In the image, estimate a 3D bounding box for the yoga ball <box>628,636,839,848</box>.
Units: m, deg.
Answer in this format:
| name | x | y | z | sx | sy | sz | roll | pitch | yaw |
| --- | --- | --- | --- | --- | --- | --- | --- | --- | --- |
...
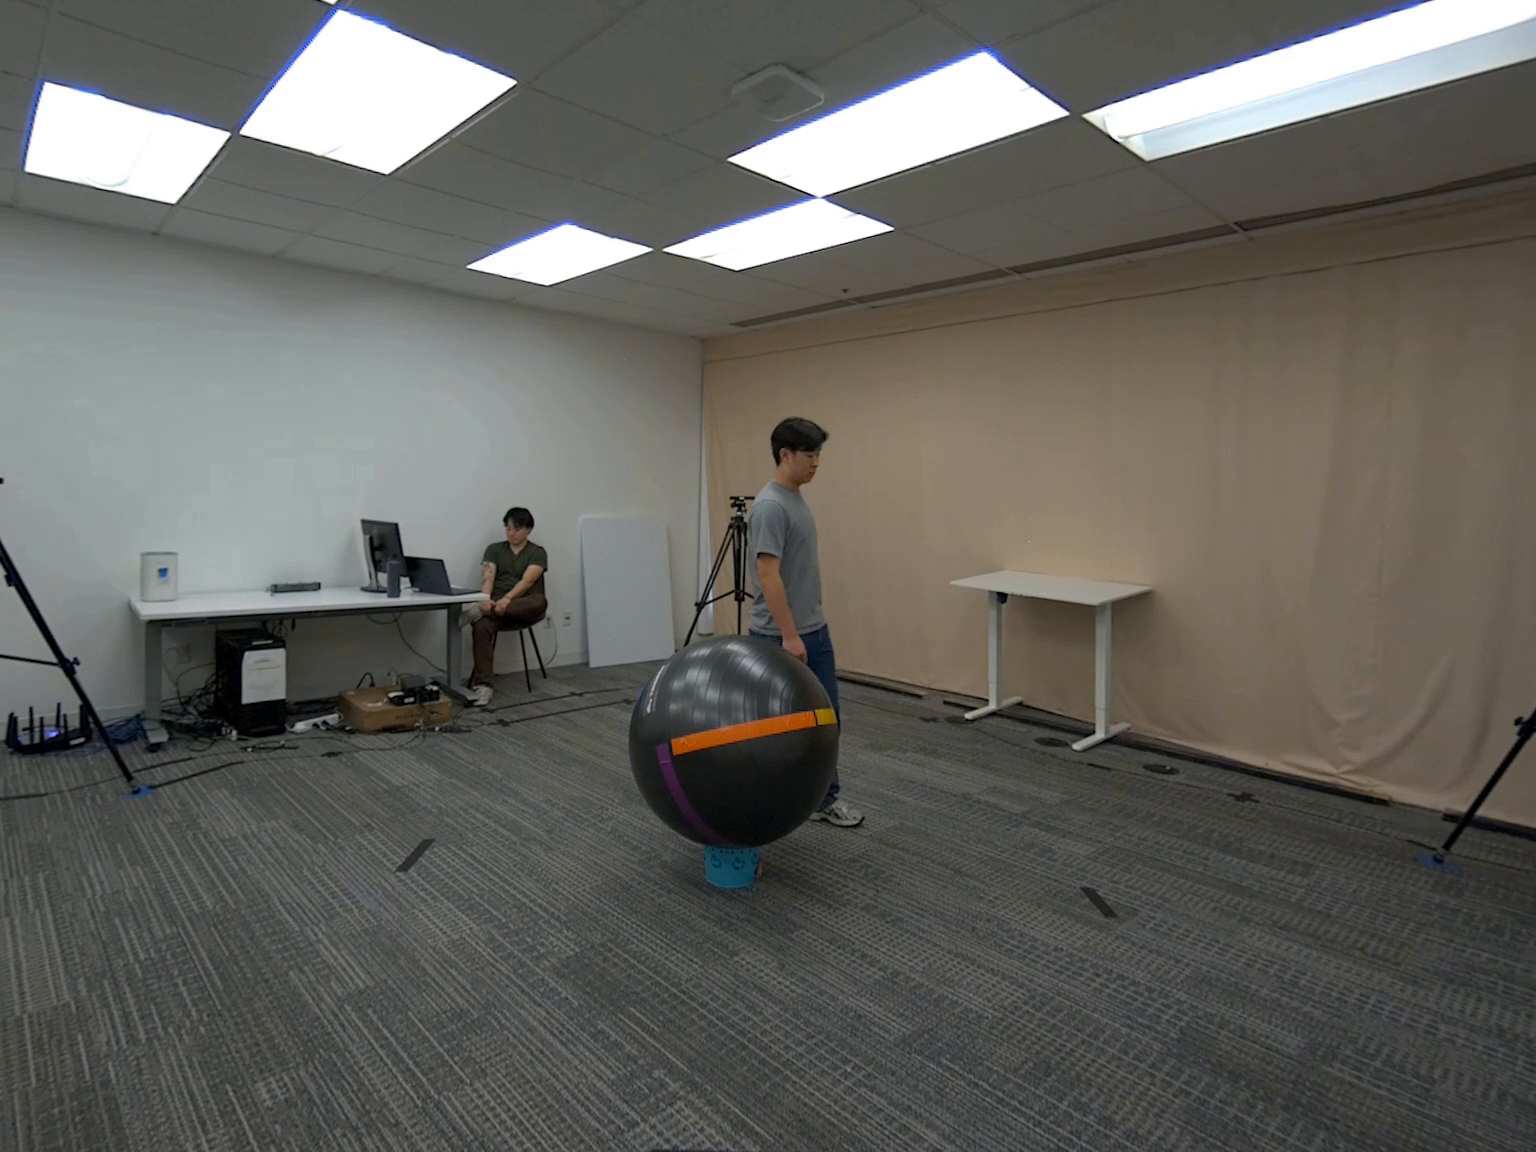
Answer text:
| name | x | y | z | sx | sy | sz | roll | pitch | yaw |
| --- | --- | --- | --- | --- | --- | --- | --- | --- | --- |
| yoga ball | -0.132 | 0.600 | 3.059 | 0.757 | 0.756 | 0.761 | 1 | 4 | -1 |
